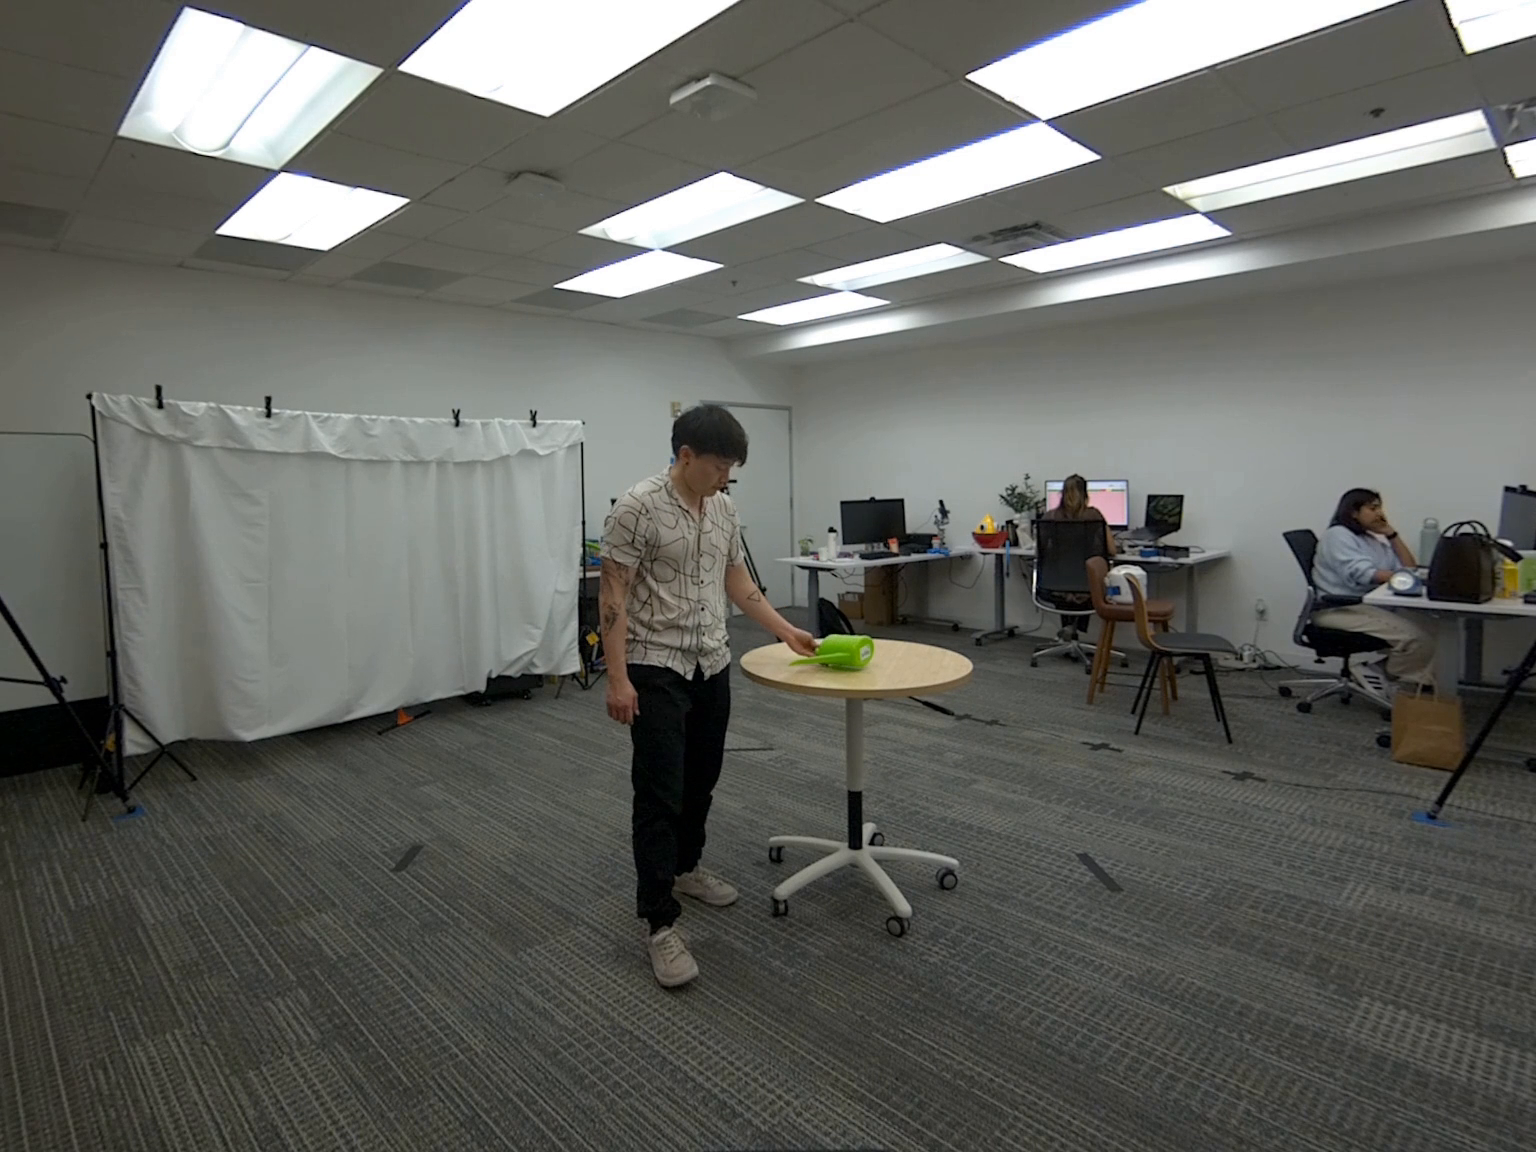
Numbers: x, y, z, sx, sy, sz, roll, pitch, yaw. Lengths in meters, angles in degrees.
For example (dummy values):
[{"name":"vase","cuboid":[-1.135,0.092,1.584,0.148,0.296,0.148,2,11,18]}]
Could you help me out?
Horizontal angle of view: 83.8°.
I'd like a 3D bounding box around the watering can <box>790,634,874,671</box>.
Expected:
[{"name":"watering can","cuboid":[0.216,0.260,2.746,0.182,0.096,0.276,0,26,40]}]
